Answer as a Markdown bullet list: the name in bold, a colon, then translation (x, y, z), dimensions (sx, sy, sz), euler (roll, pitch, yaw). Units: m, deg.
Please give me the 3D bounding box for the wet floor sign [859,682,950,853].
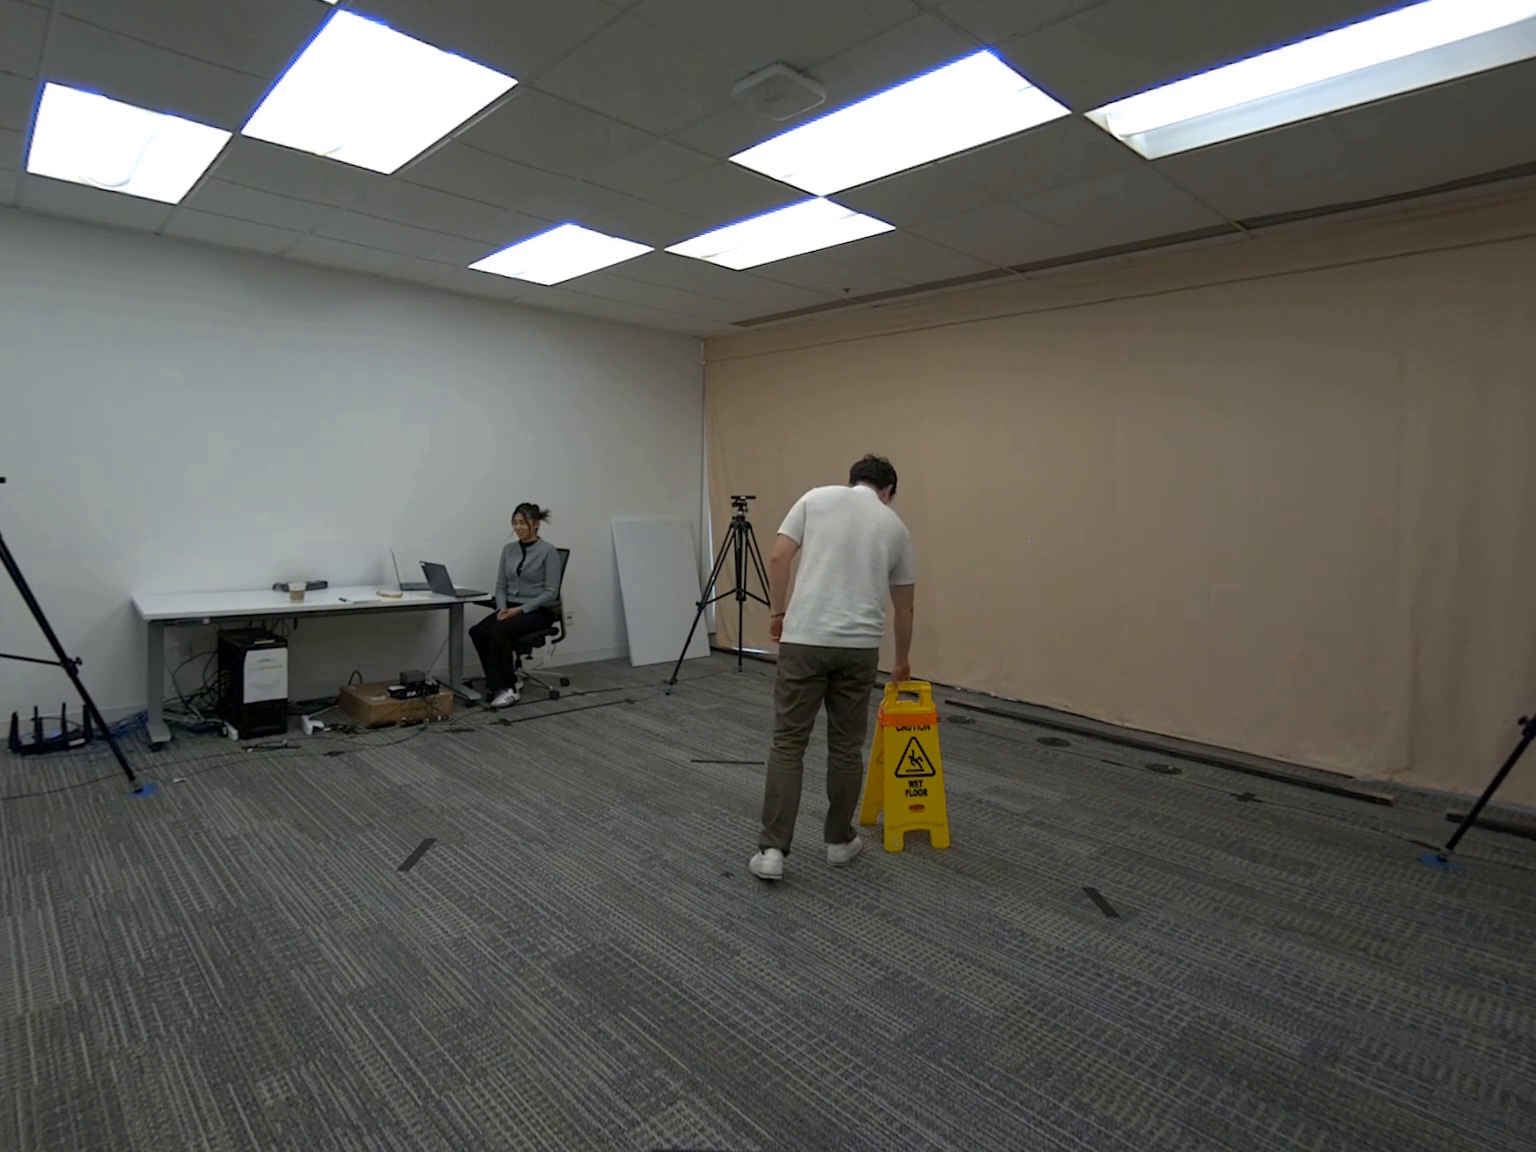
- **wet floor sign**: translation (0.565, 0.759, 3.499), dimensions (0.279, 0.645, 0.293), euler (1, 3, -14)
